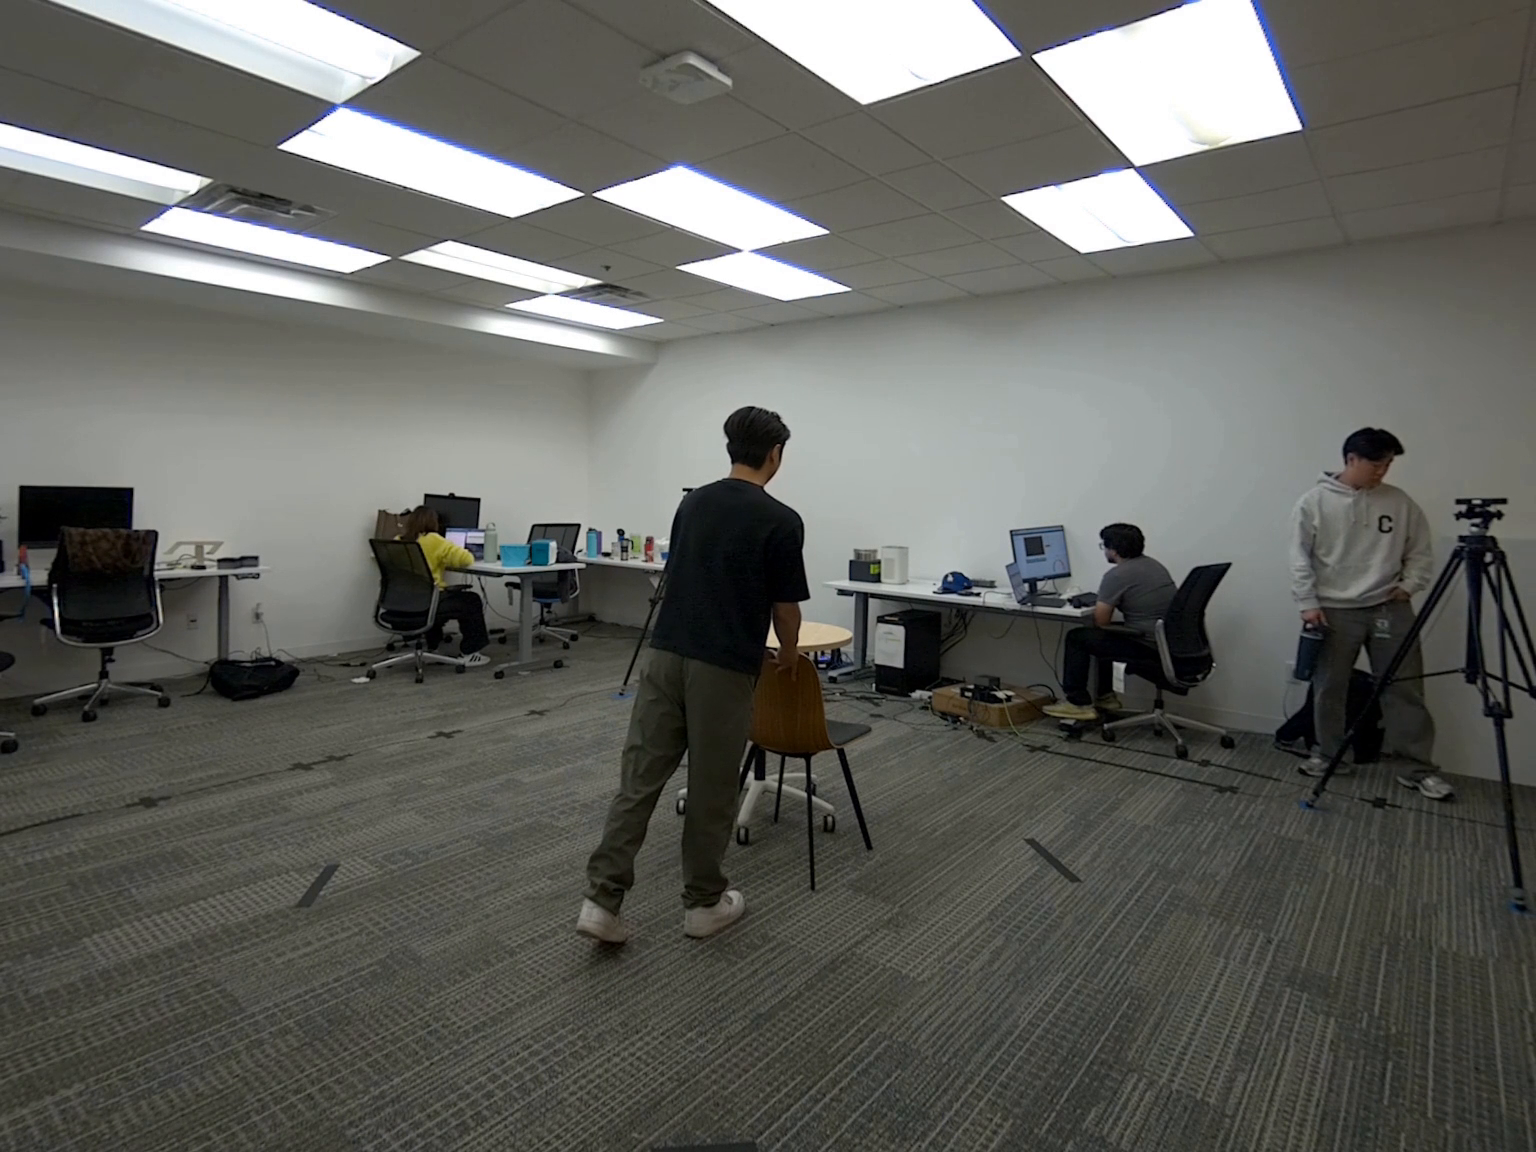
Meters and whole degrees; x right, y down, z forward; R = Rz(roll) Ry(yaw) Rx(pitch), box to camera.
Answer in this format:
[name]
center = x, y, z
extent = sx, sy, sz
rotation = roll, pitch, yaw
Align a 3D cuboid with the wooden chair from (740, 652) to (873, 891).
[wooden chair]
center = 0.100, 0.632, 3.245
extent = 0.493, 0.871, 0.510
rotation = 4, 9, 35
